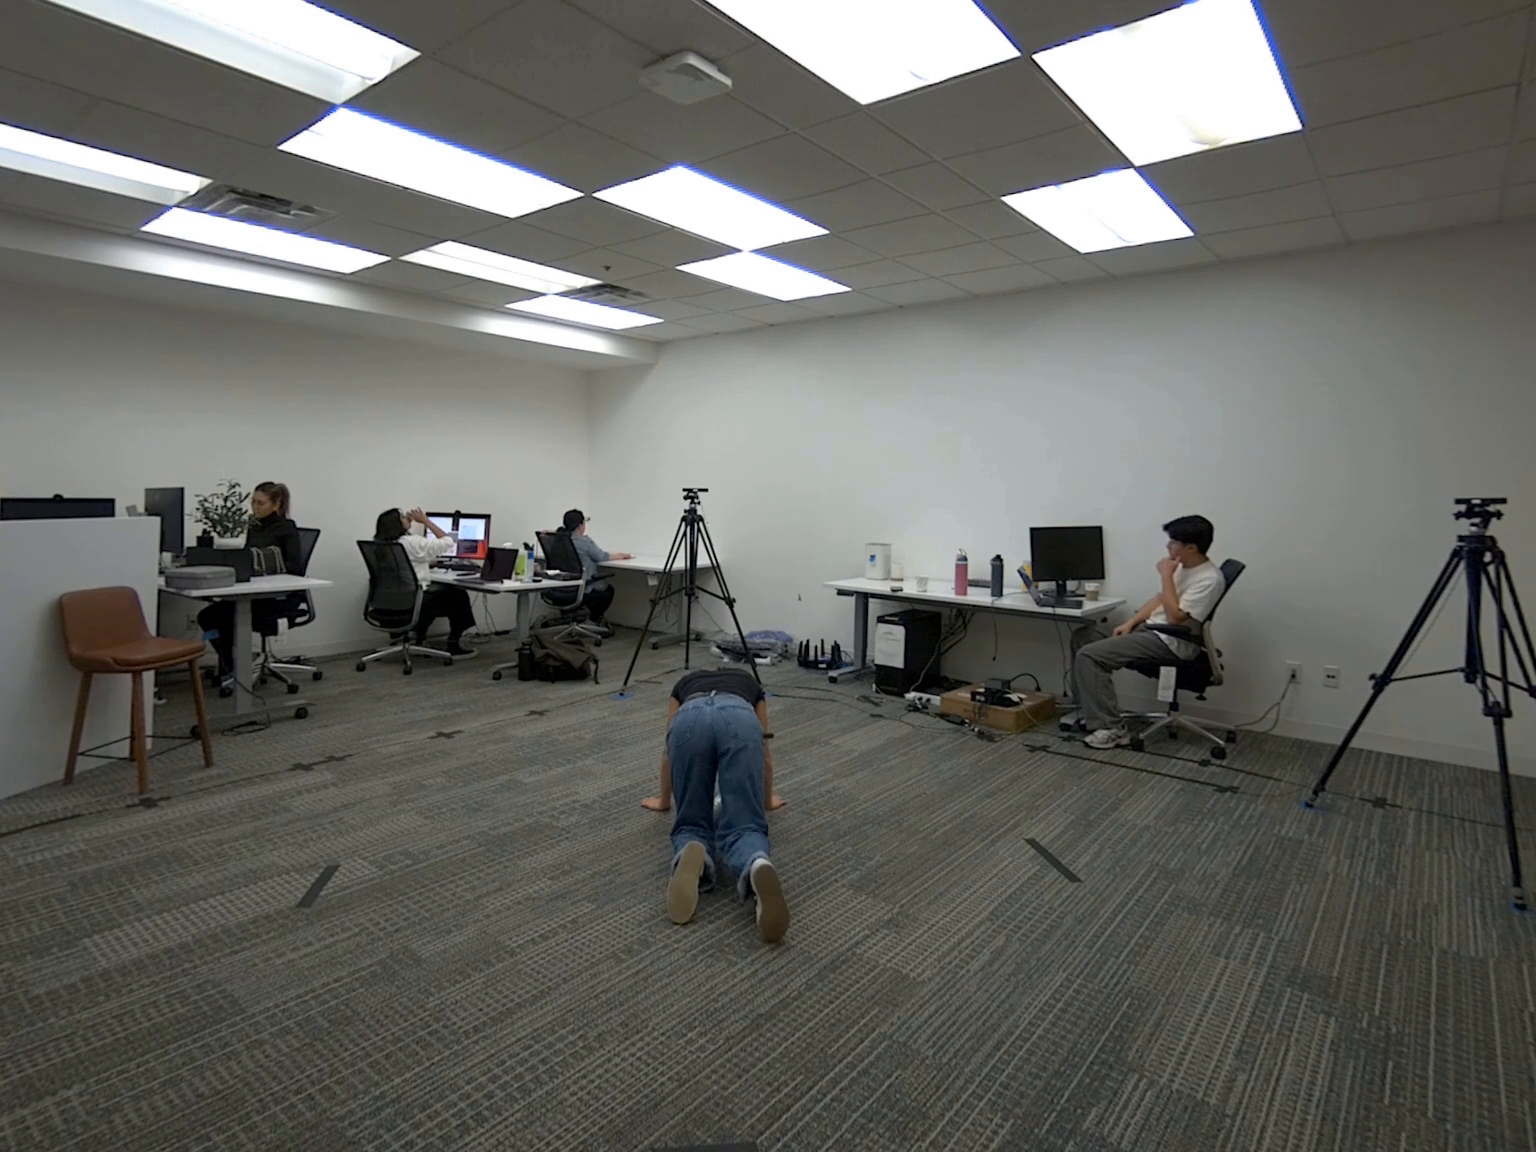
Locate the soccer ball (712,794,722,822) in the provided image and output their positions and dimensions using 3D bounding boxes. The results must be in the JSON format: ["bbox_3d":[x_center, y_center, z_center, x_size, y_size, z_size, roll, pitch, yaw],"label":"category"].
[{"bbox_3d":[-0.155,0.936,3.407,0.187,0.187,0.188,1,4,-2],"label":"soccer ball"}]
